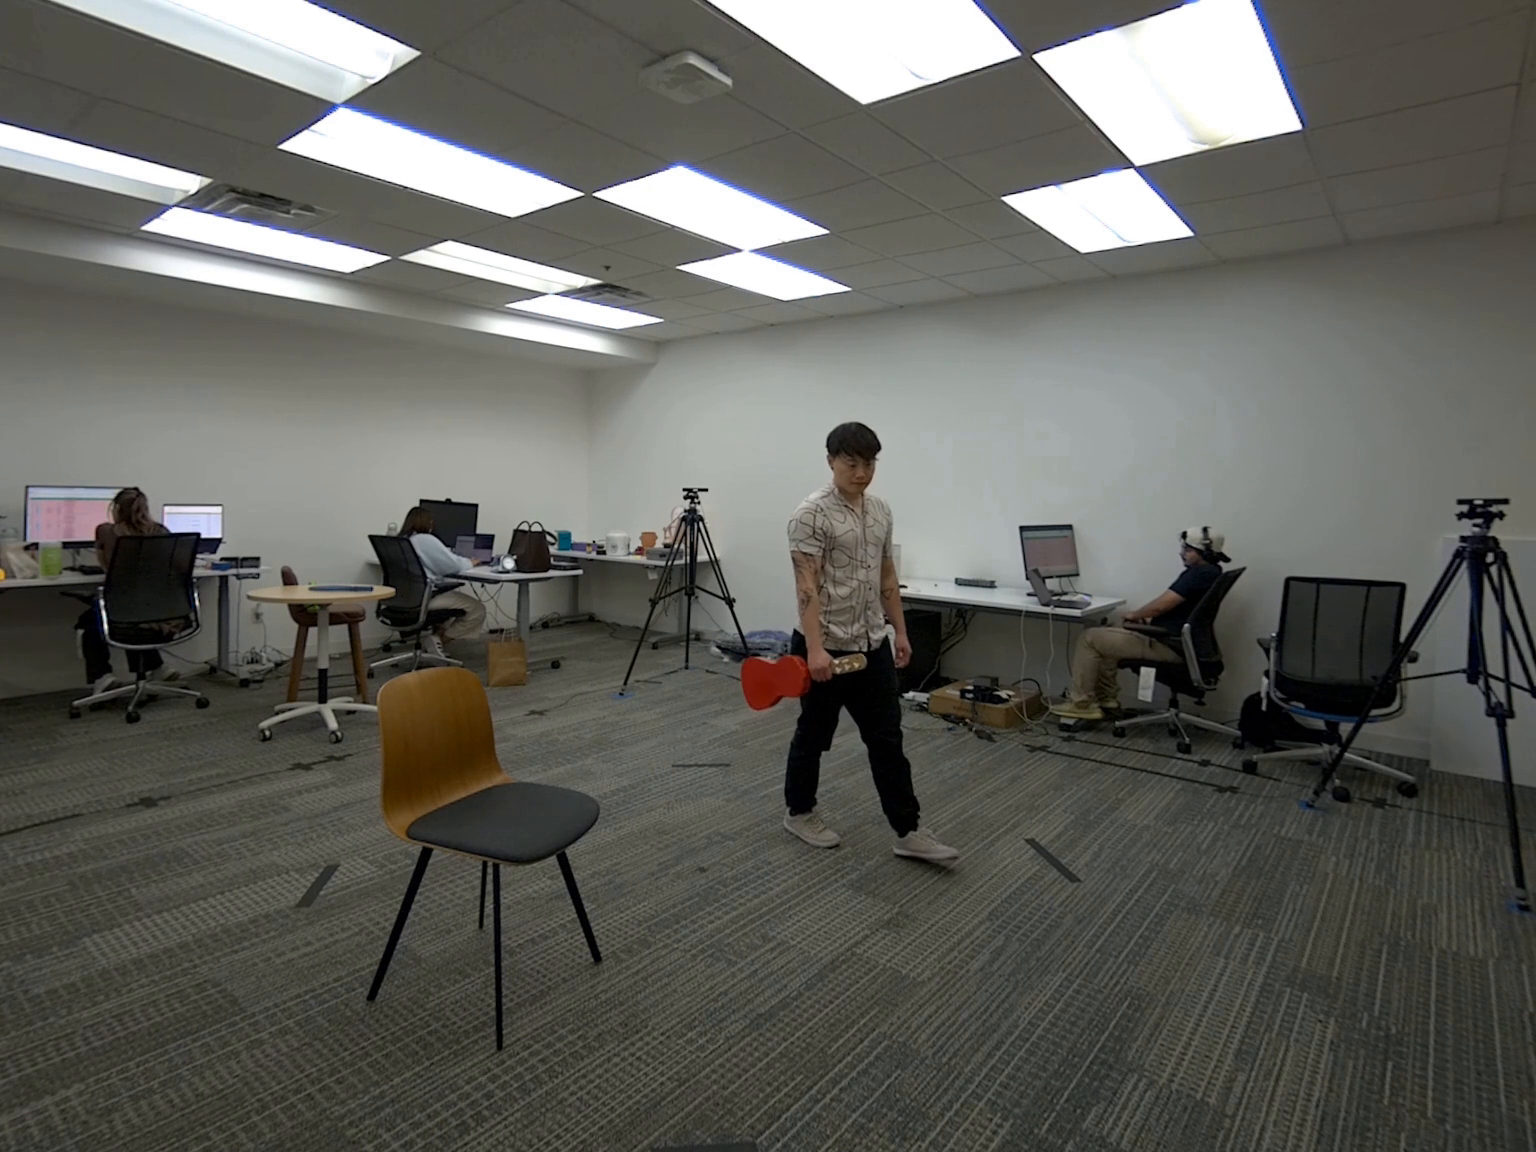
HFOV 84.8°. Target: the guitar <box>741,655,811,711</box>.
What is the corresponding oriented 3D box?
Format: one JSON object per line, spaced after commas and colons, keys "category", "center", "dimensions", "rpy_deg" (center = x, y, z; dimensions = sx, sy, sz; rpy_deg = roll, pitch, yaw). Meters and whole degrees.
{"category": "guitar", "center": [0.107, 0.324, 3.088], "dimensions": [0.504, 0.197, 0.068], "rpy_deg": [-27, -19, 32]}
